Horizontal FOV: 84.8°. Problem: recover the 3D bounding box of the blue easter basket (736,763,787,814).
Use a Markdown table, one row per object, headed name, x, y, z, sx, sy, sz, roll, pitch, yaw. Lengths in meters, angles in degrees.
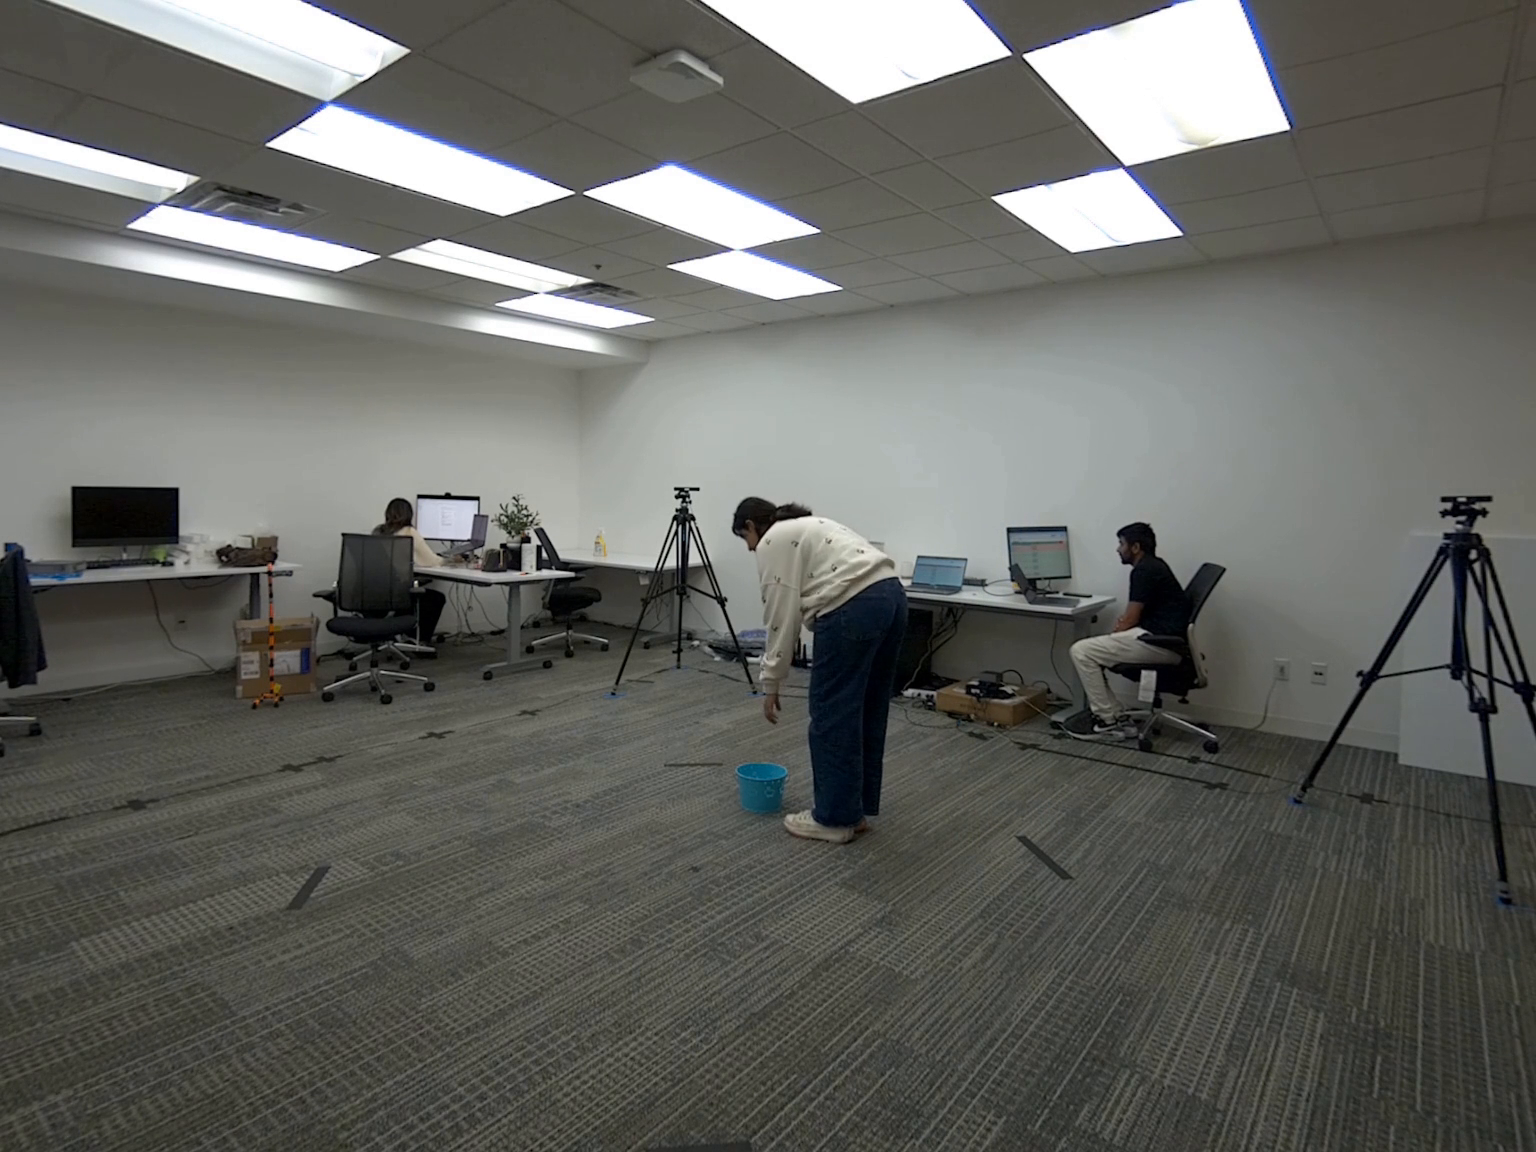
| name | x | y | z | sx | sy | sz | roll | pitch | yaw |
| --- | --- | --- | --- | --- | --- | --- | --- | --- | --- |
| blue easter basket | -0.033 | 0.928 | 3.752 | 0.243 | 0.155 | 0.245 | 1 | 5 | -2 |
